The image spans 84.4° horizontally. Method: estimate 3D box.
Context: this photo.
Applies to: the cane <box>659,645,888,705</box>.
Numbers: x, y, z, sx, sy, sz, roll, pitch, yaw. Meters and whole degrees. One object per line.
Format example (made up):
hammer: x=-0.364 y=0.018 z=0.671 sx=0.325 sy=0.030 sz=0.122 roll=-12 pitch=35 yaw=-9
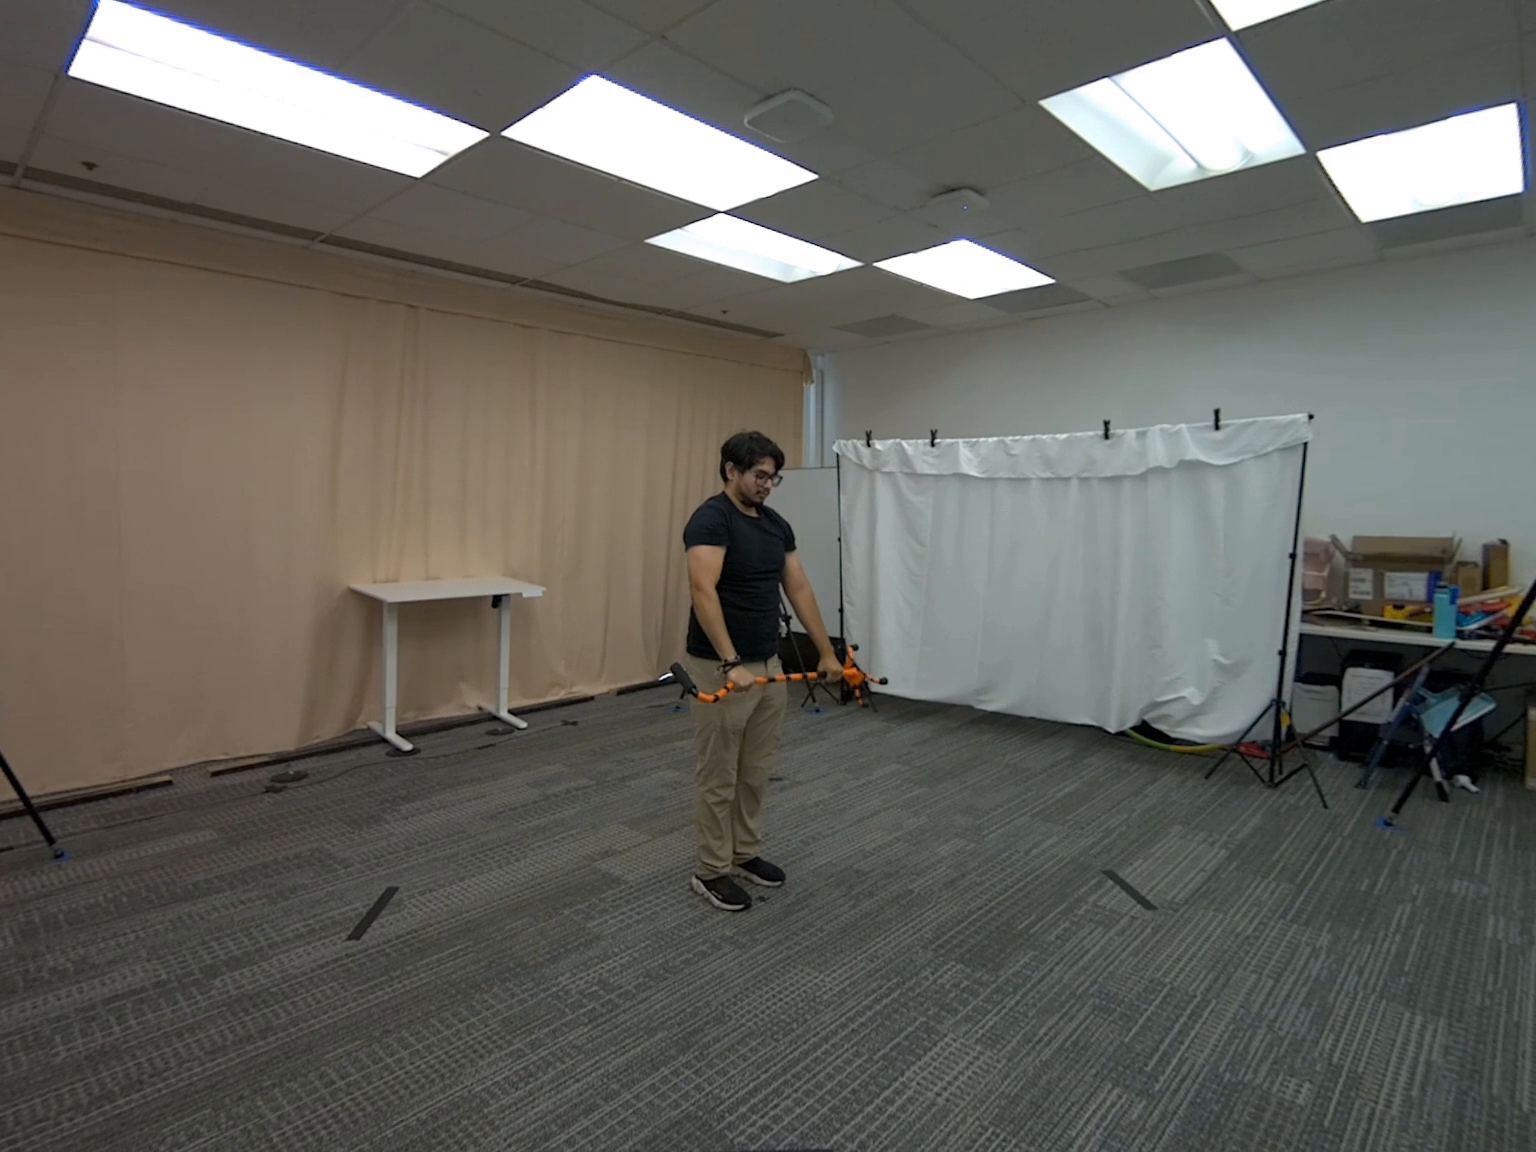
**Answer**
cane: x=0.064 y=0.364 z=2.854 sx=0.878 sy=0.152 sz=0.213 roll=3 pitch=38 yaw=-46
